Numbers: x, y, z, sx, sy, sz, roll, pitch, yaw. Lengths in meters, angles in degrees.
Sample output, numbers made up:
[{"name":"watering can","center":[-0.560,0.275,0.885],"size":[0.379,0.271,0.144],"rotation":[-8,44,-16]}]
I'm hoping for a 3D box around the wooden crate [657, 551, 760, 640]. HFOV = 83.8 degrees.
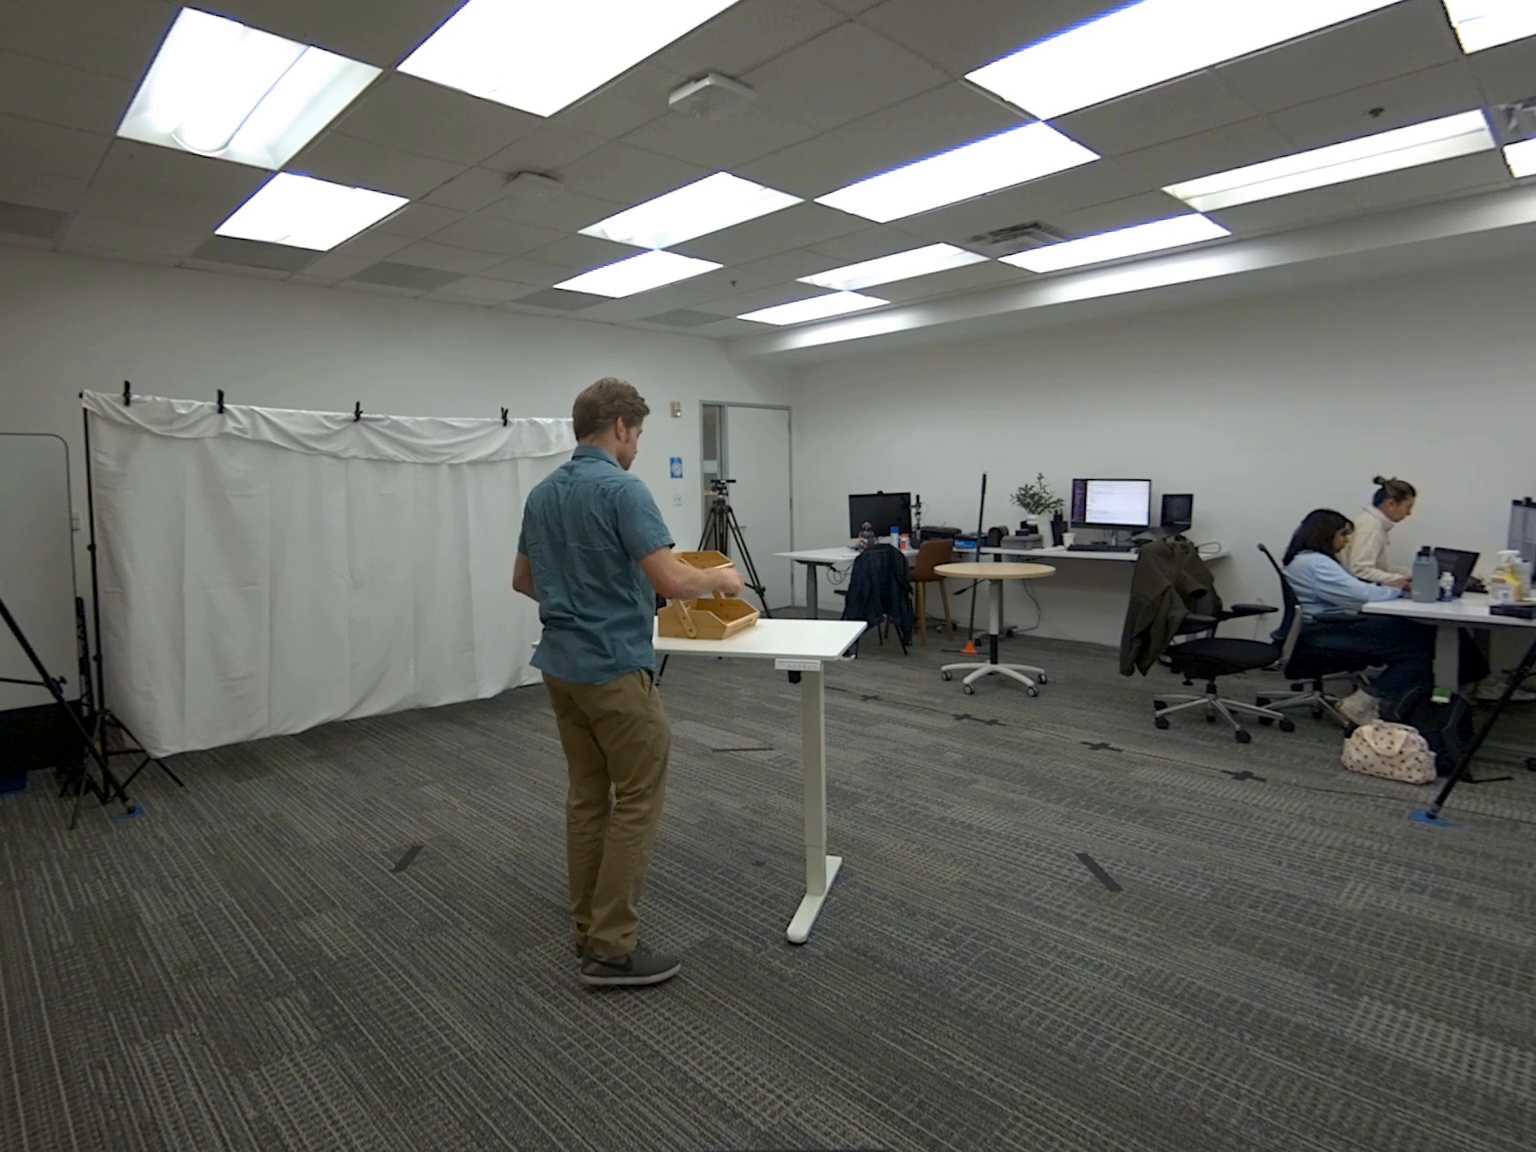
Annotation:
[{"name":"wooden crate","center":[-0.219,0.056,2.922],"size":[0.308,0.272,0.319],"rotation":[0,5,22]}]
